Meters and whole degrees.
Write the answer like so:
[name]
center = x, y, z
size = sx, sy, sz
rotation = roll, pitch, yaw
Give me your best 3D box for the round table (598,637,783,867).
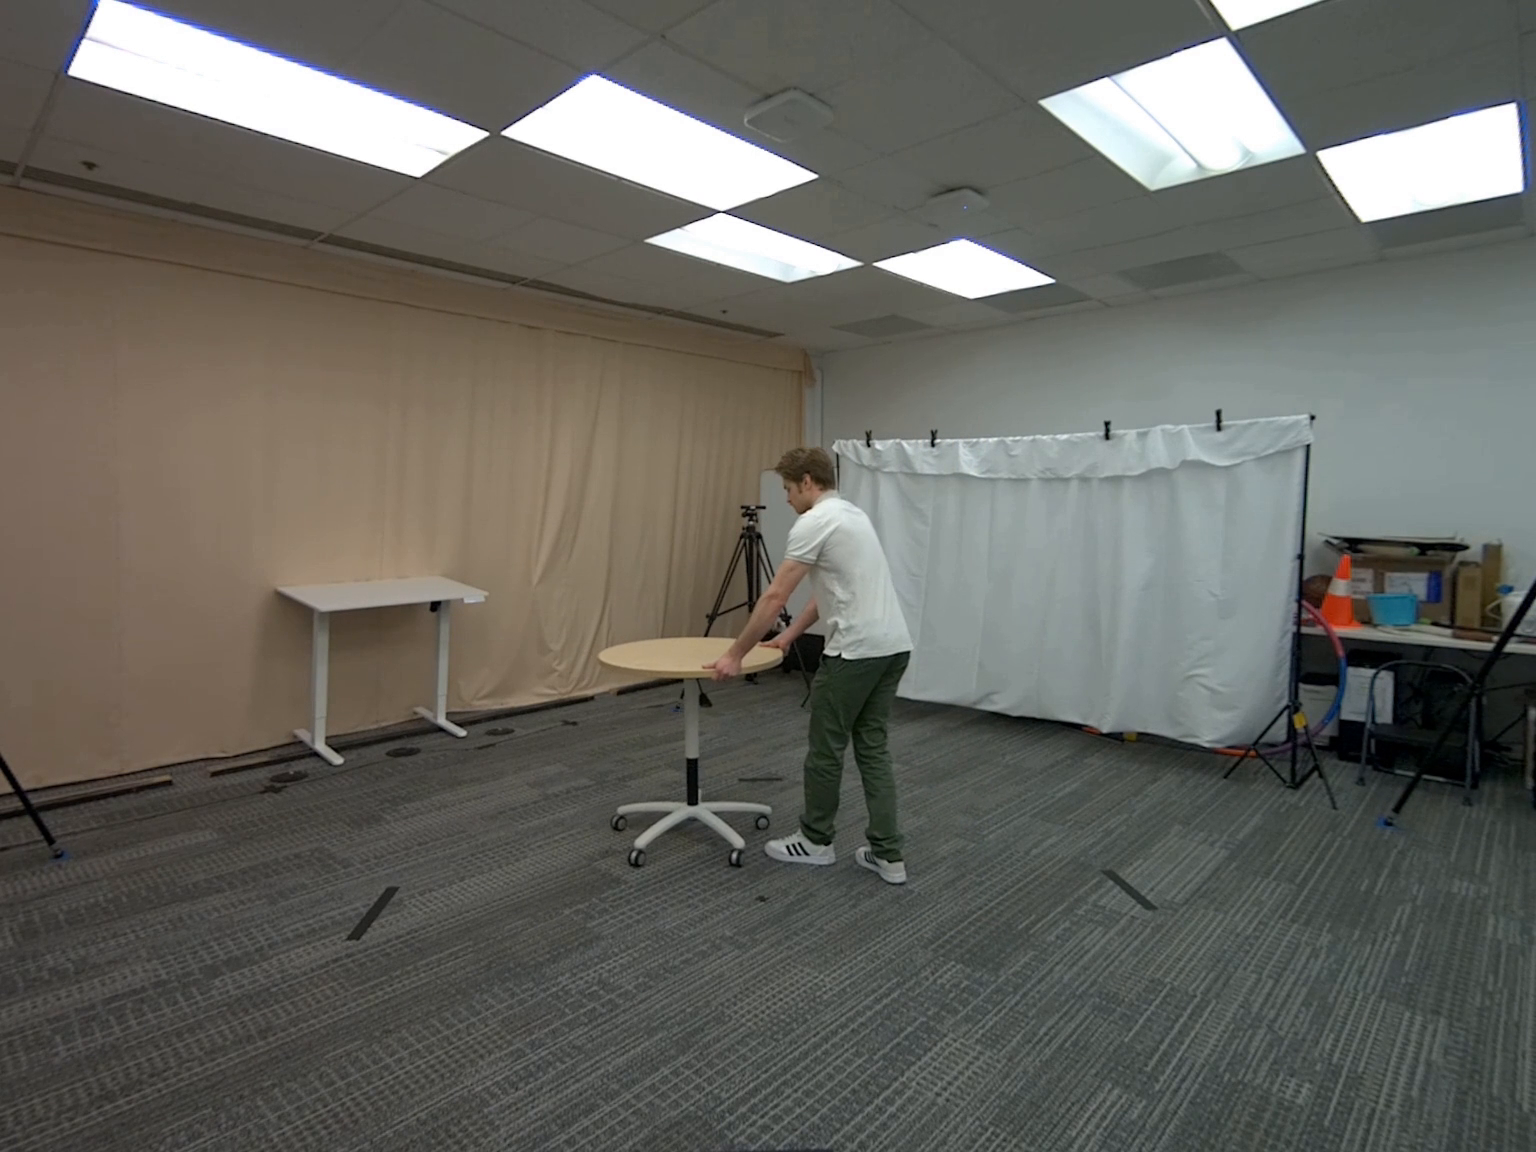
[round table]
center = -0.302, 0.707, 3.522
size = 0.784, 0.784, 0.788
rotation = -1, 4, -2
